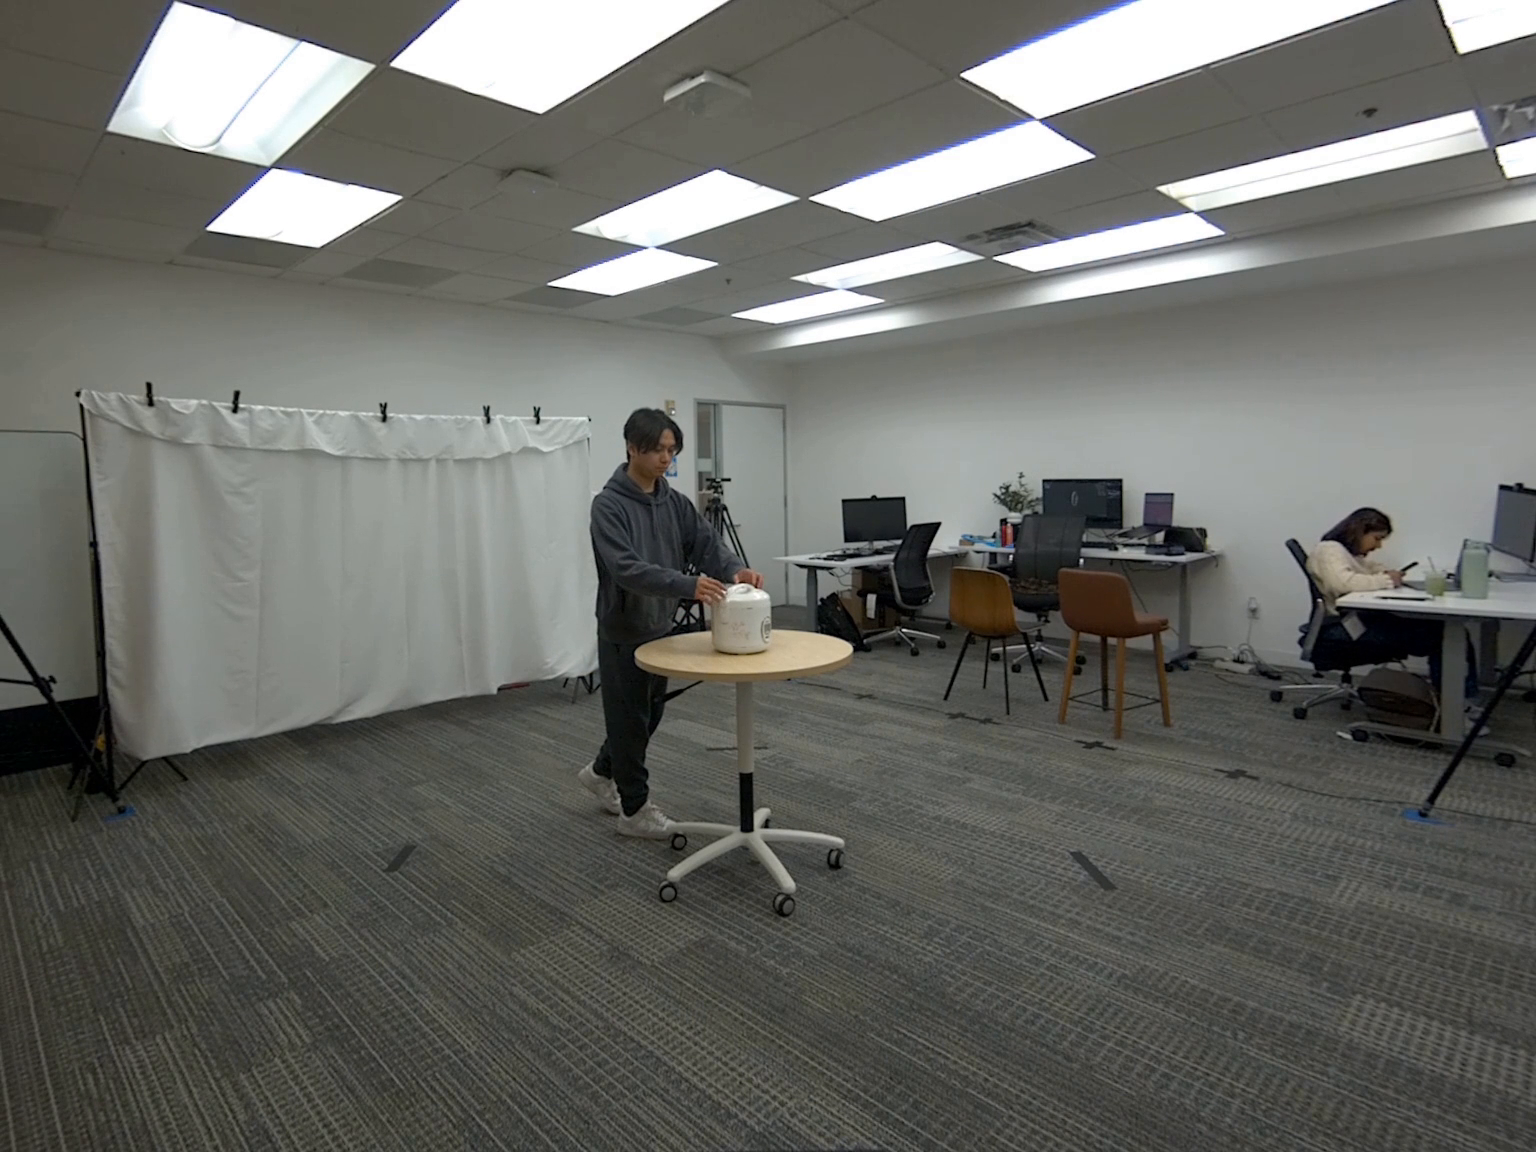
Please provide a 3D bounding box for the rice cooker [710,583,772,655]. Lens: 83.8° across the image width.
[{"bbox_3d":[-0.096,0.138,2.984,0.223,0.232,0.215,-2,4,35],"label":"rice cooker"}]
